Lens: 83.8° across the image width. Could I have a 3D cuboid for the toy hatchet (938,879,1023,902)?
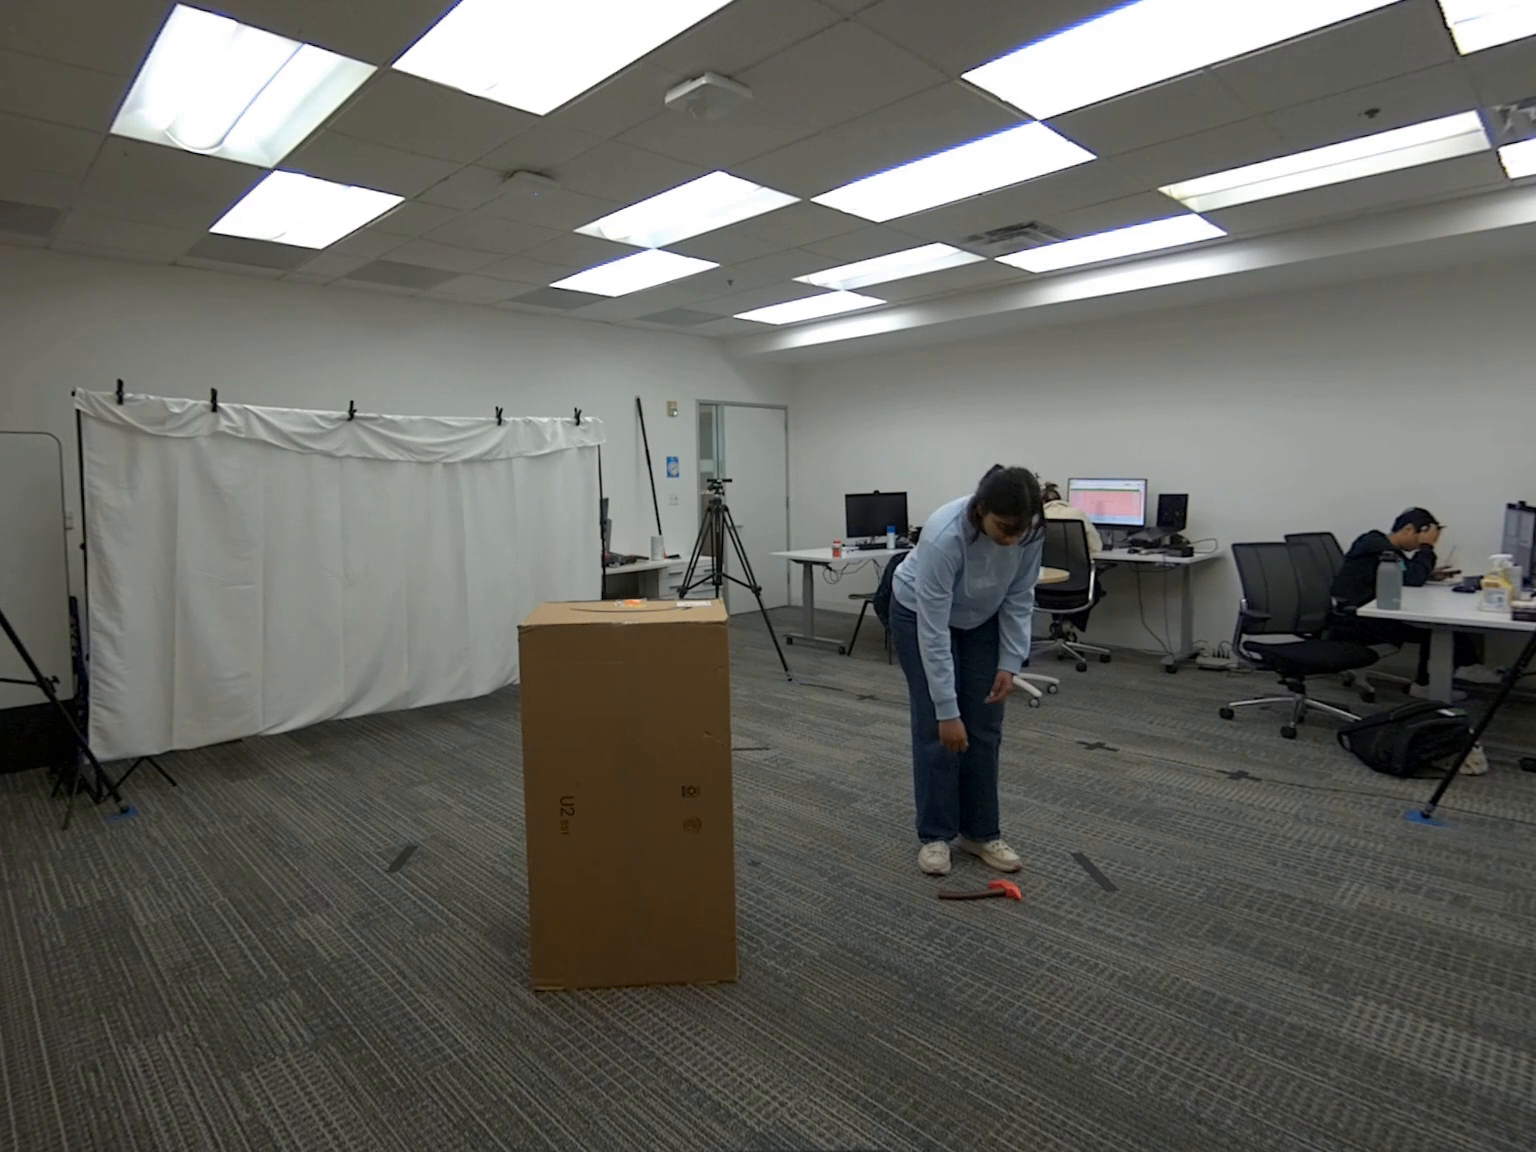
[{"bbox_3d":[0.701,1.050,2.861,0.272,0.029,0.131,-1,8,7],"label":"toy hatchet"}]
